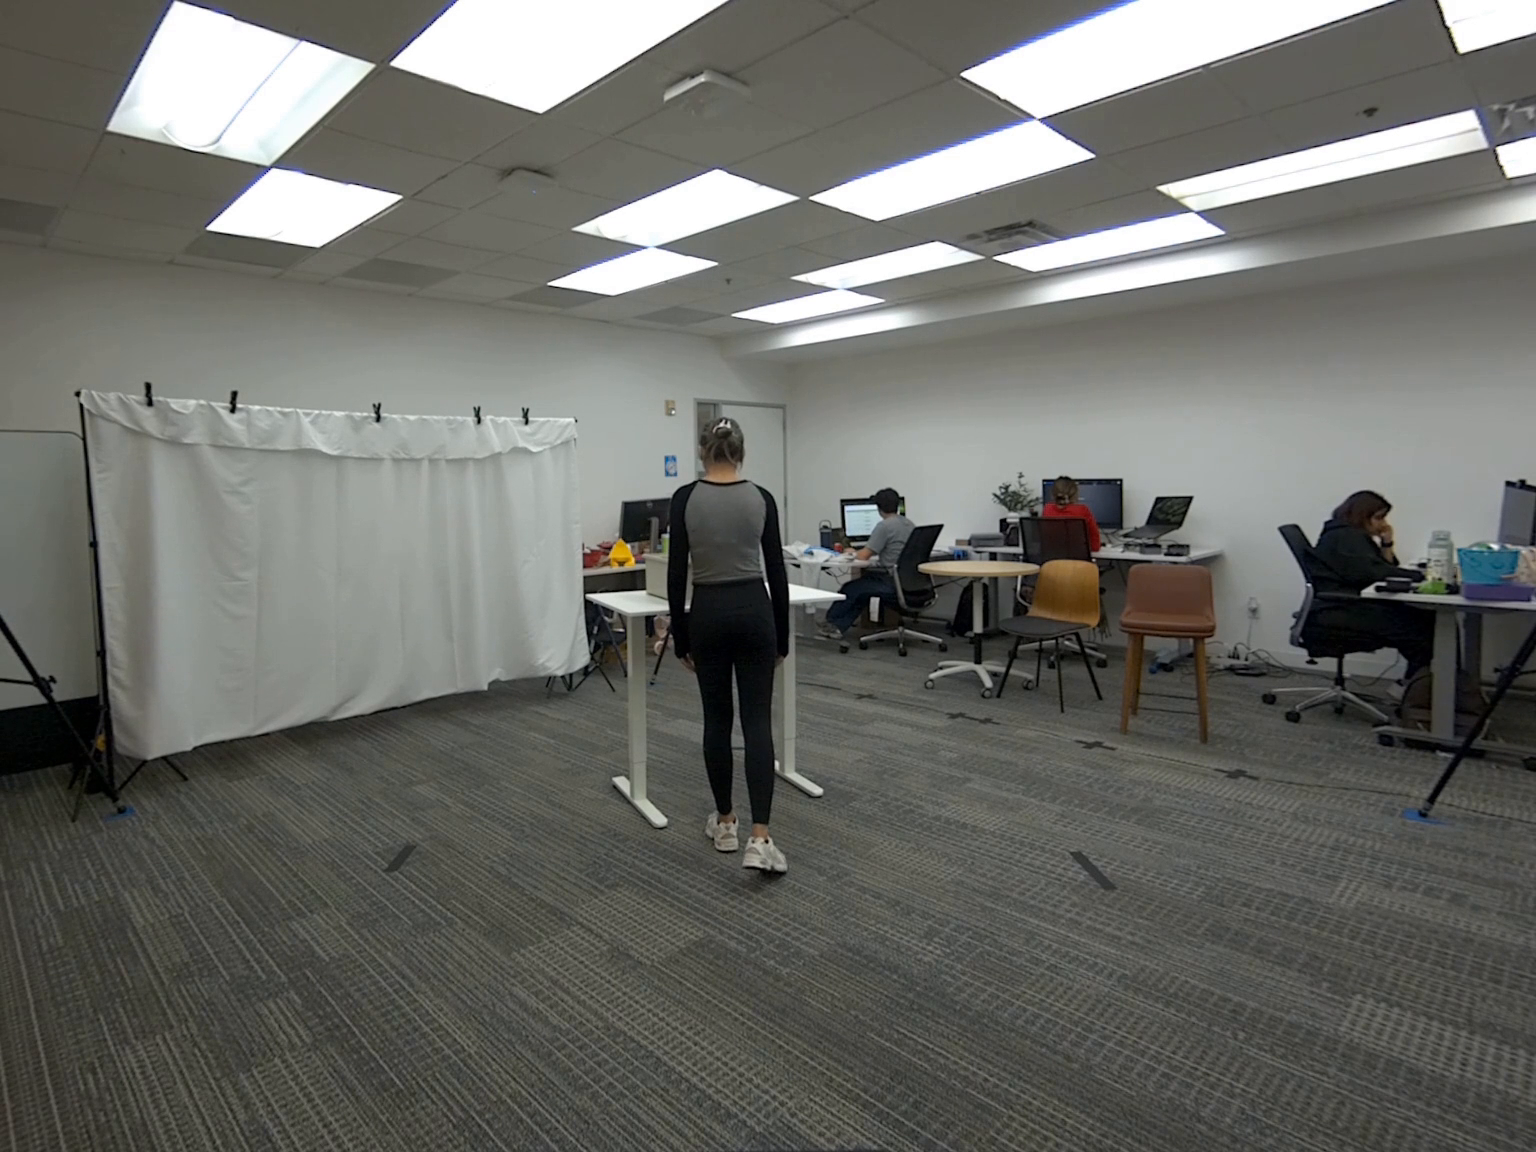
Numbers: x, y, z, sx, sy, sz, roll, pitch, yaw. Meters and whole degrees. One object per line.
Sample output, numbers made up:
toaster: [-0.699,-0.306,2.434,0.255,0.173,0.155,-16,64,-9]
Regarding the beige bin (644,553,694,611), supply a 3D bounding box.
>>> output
beige bin: [-0.295,0.007,3.738,0.369,0.188,0.434,-4,7,-28]
